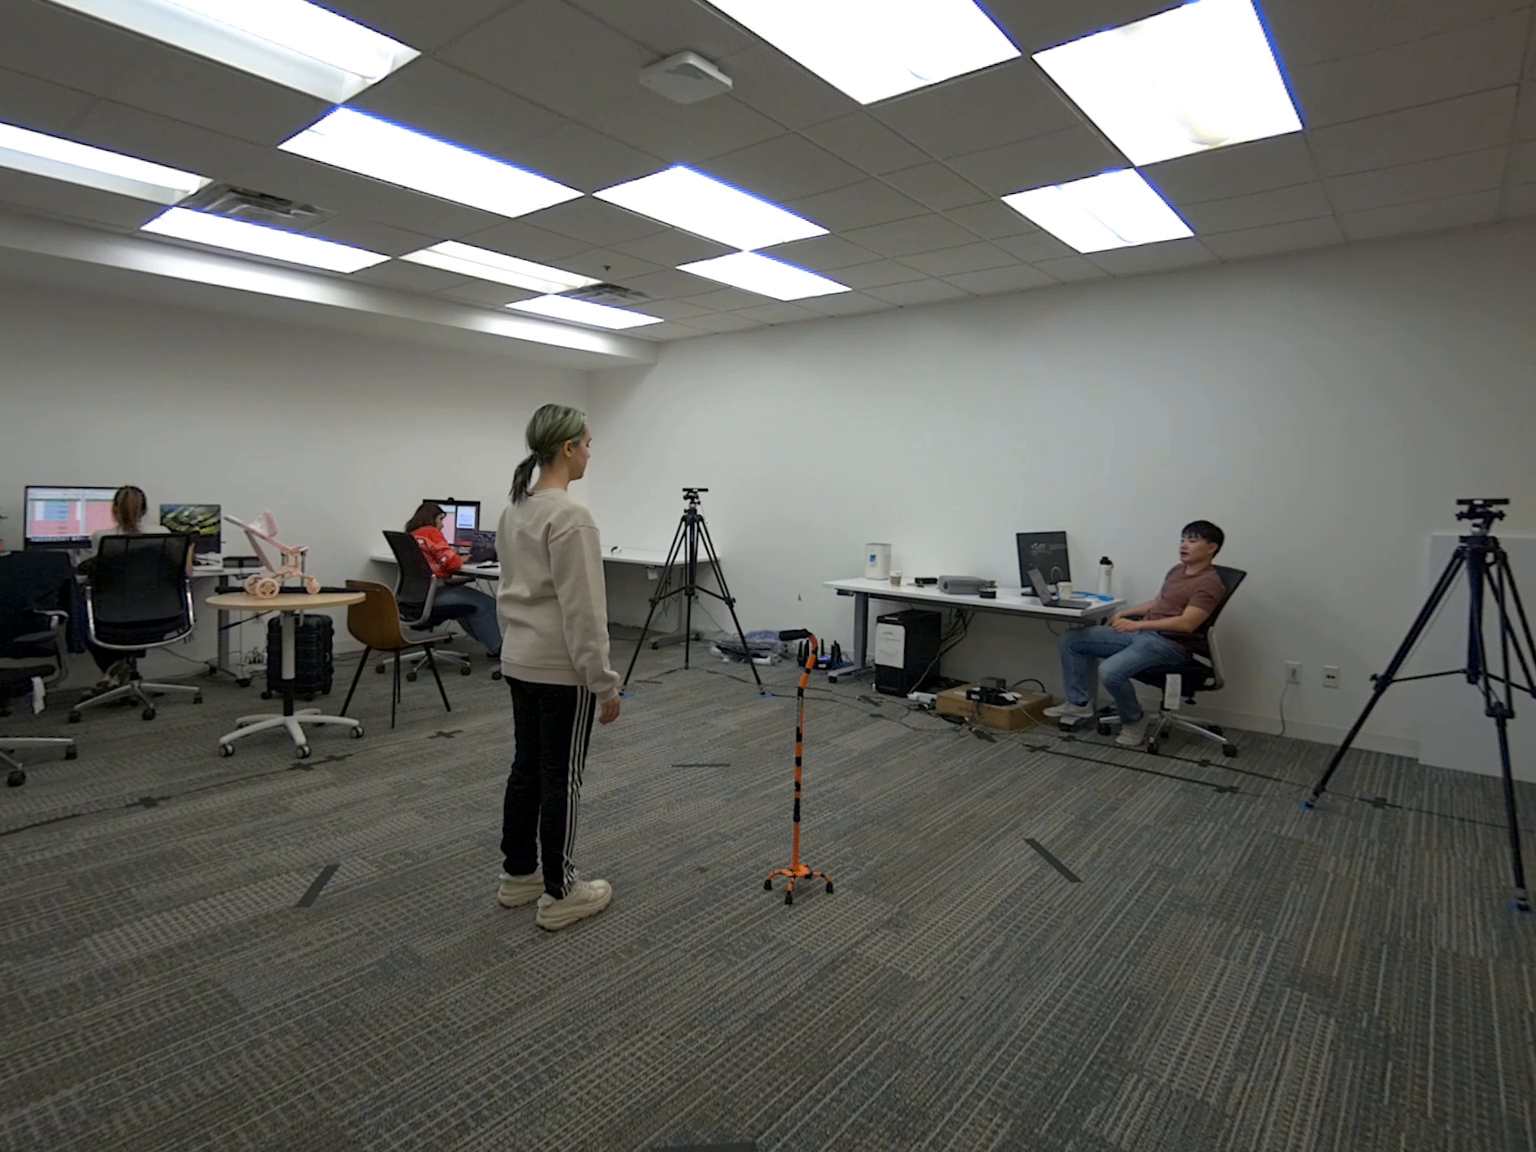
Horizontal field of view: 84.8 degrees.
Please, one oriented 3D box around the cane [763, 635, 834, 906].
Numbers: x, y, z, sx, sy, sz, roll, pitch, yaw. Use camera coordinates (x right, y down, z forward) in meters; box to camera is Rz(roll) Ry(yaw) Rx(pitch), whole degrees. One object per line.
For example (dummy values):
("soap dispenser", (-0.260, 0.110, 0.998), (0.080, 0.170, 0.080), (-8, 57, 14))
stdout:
("cane", (0.111, 0.642, 2.942), (0.201, 0.905, 0.156), (0, 3, -31))
